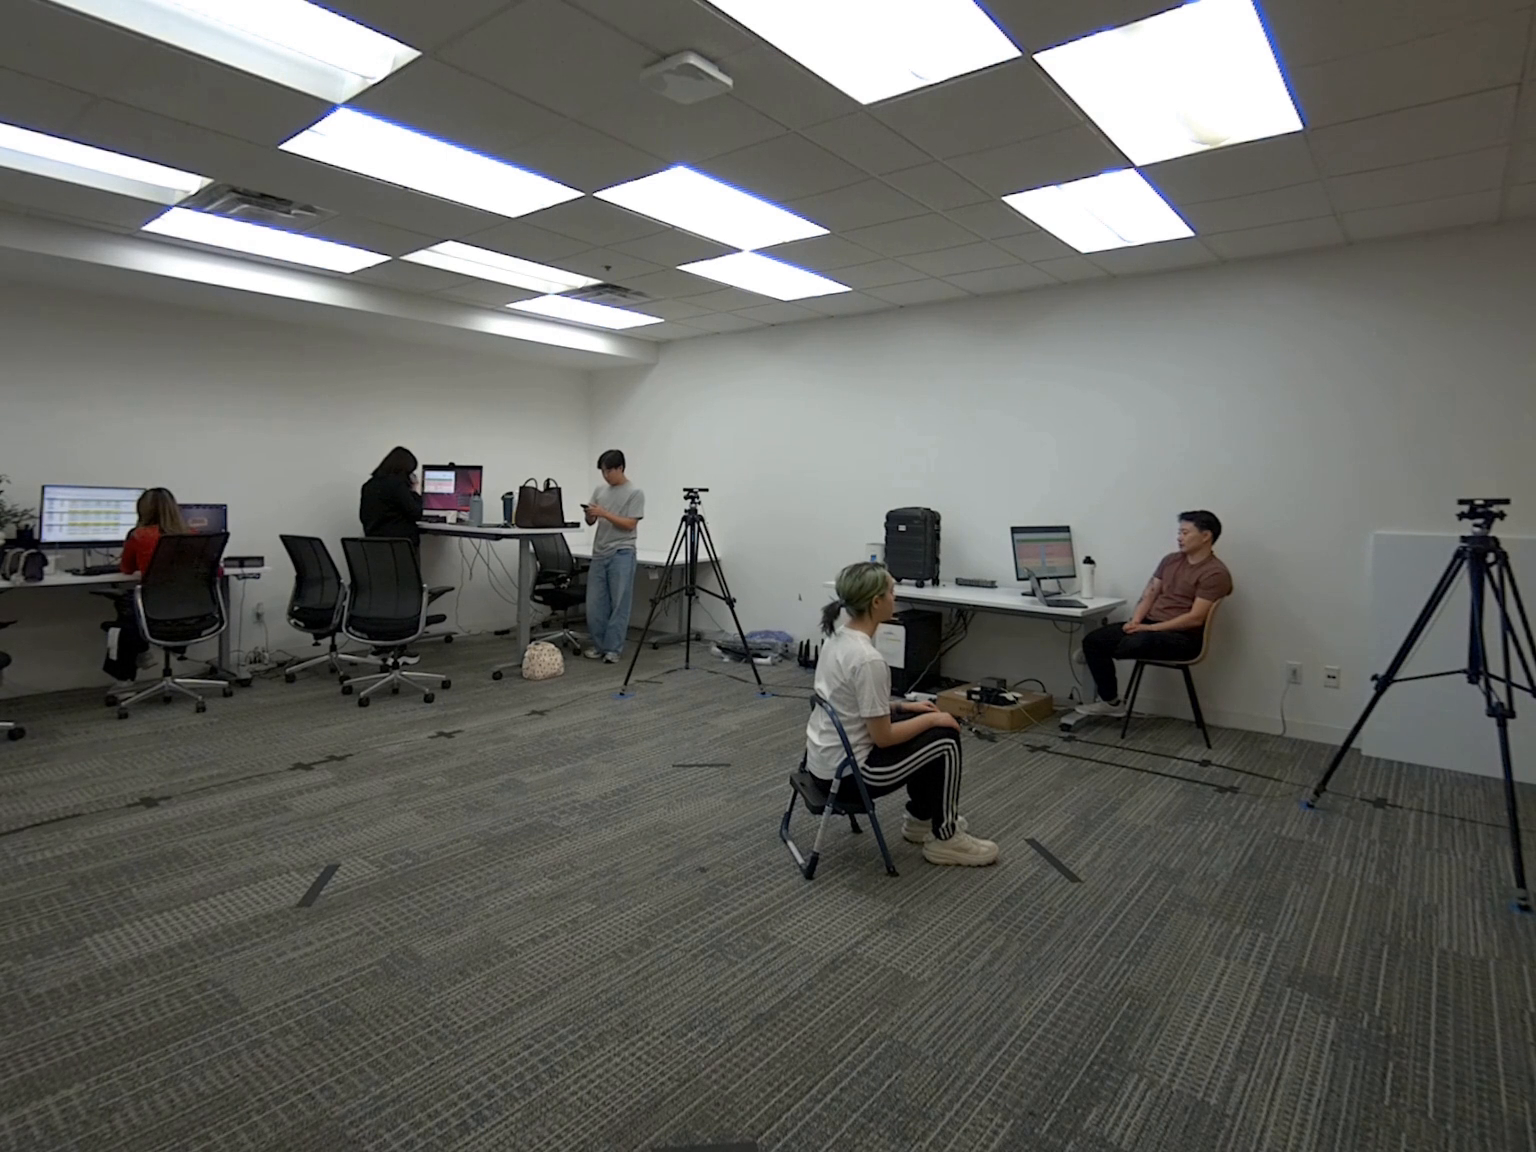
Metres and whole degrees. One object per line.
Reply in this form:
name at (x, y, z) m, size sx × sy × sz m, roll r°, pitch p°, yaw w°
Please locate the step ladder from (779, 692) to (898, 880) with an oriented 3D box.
step ladder at (0.258, 0.770, 3.259) m, size 0.345 × 0.604 × 0.437 m, roll 2°, pitch 4°, yaw -13°
